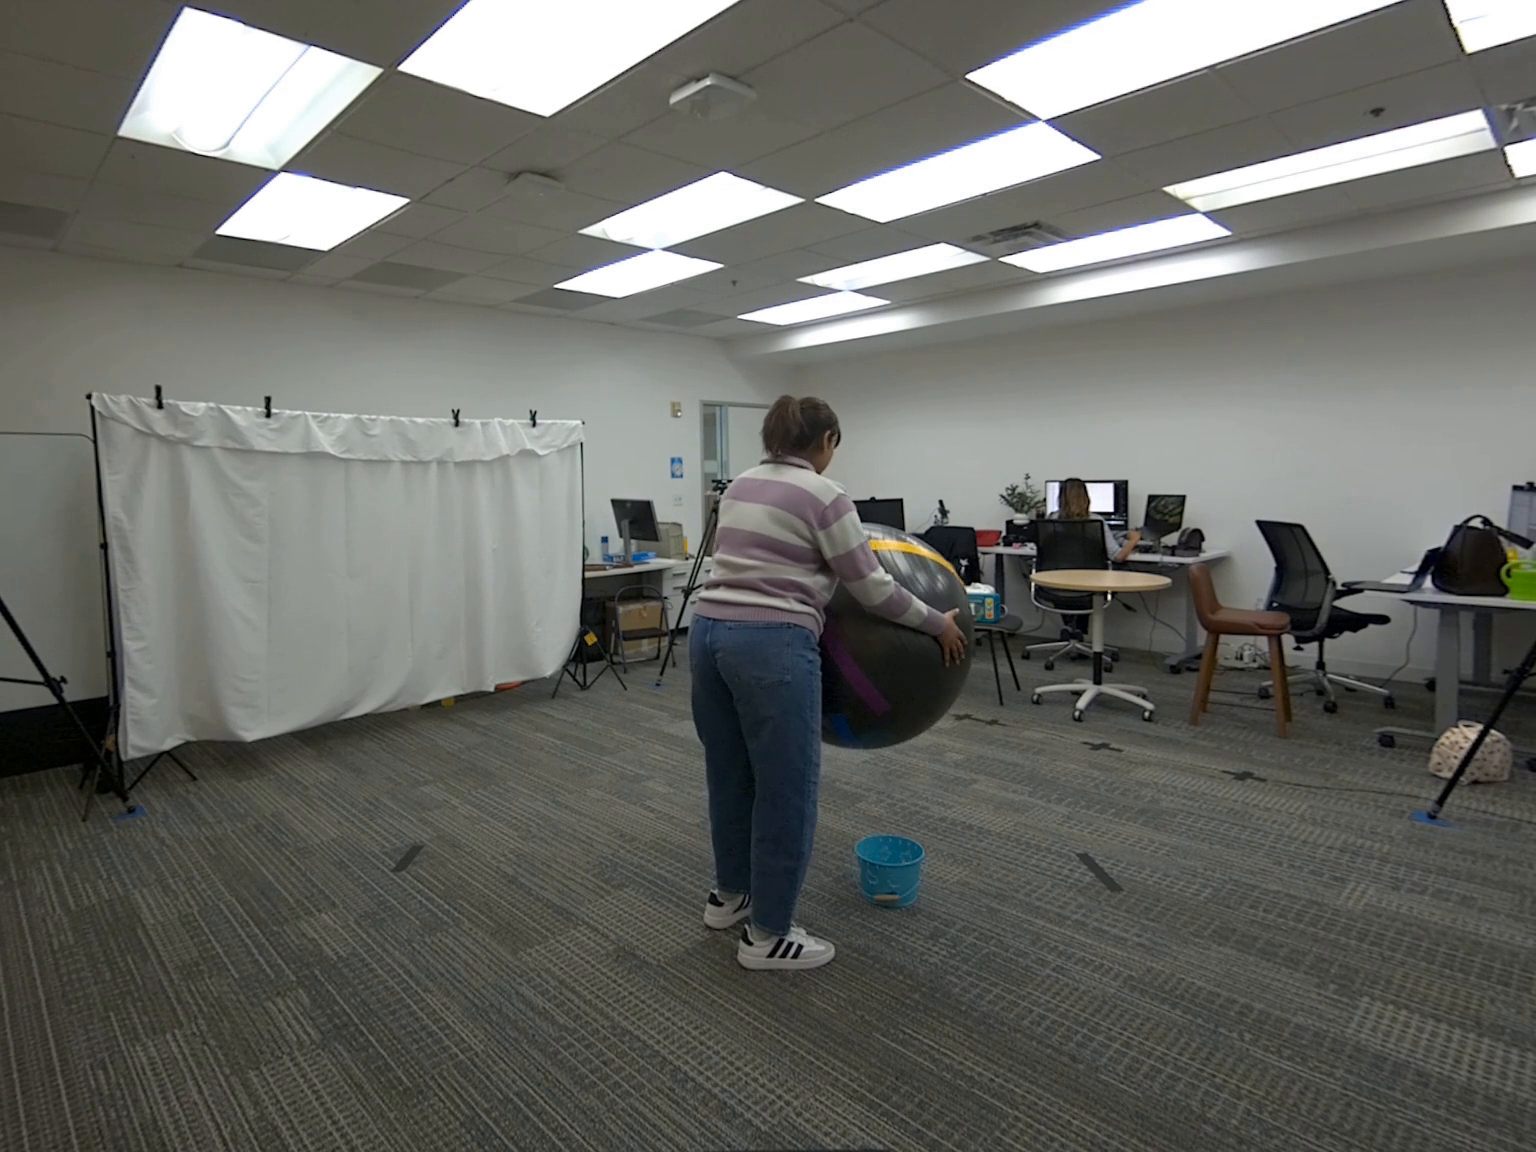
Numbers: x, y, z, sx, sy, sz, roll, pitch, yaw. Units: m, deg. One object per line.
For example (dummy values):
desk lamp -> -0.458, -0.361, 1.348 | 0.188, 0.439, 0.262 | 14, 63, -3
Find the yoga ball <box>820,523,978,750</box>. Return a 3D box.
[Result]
yoga ball -> 0.316, 0.212, 2.906 | 0.757, 0.755, 0.762 | -1, 5, -2
